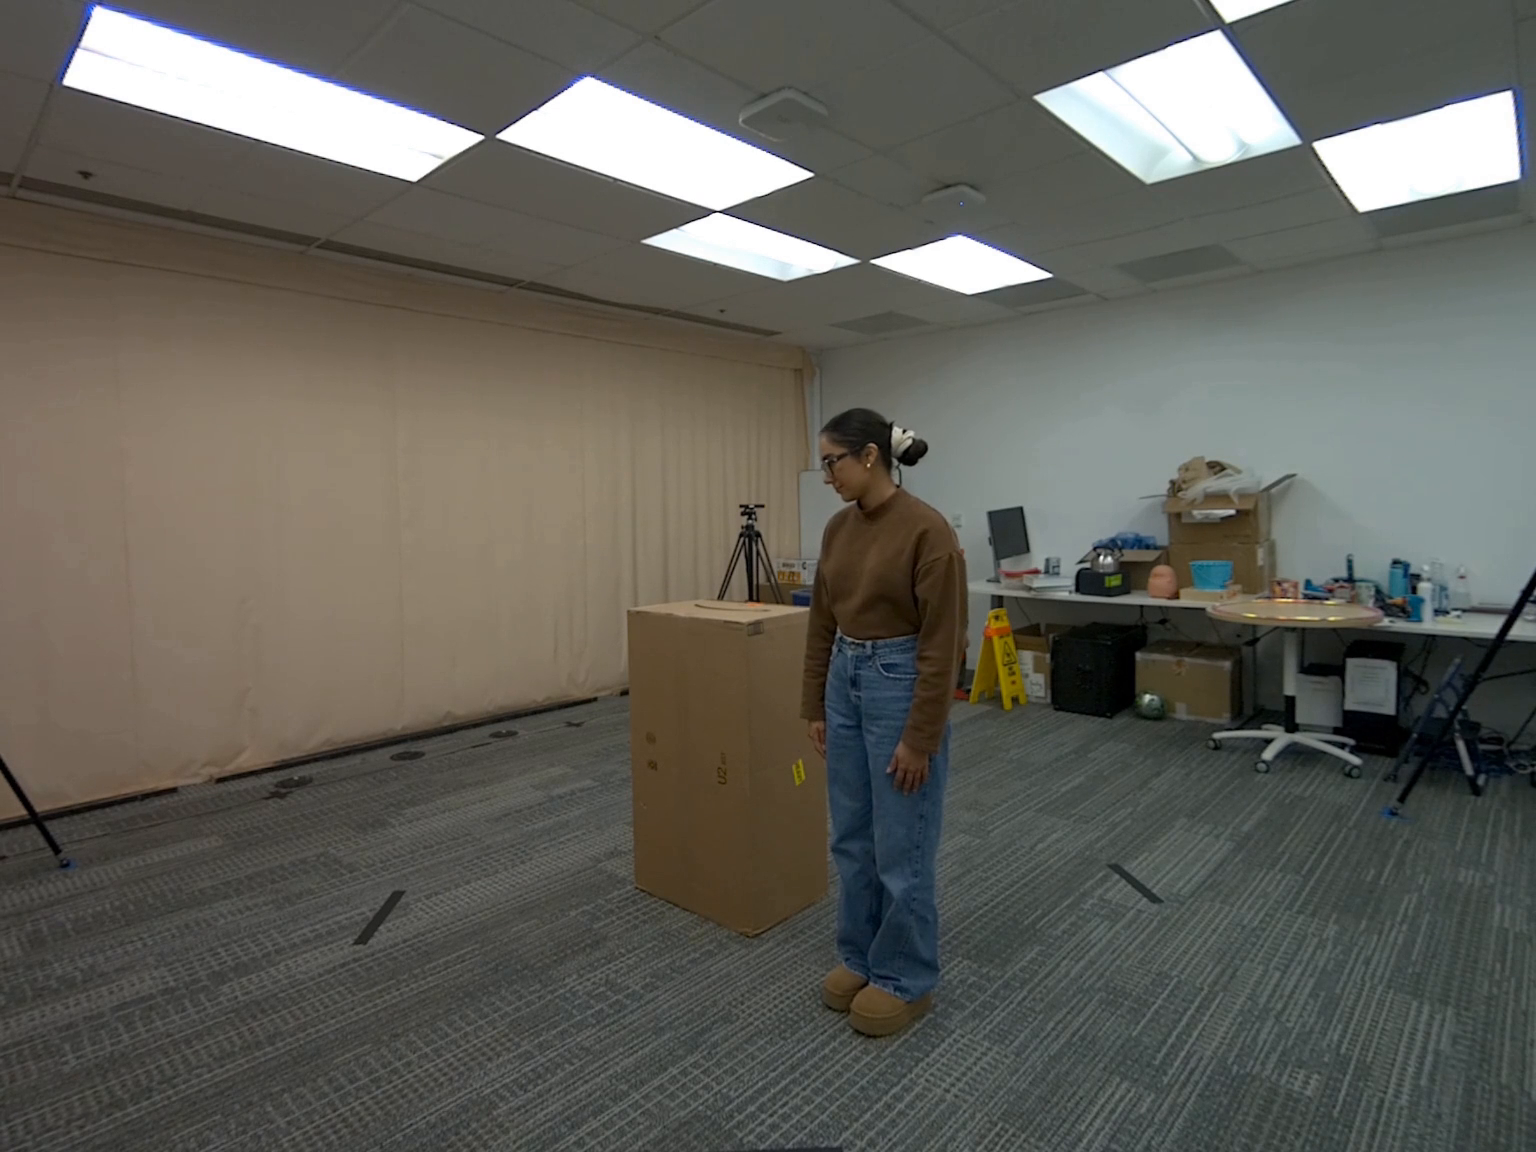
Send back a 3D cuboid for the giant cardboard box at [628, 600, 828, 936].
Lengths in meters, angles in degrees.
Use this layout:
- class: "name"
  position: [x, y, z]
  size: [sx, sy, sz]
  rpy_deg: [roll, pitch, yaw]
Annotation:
- class: "giant cardboard box"
  position: [-0.145, 0.632, 3.027]
  size: [0.603, 1.025, 0.433]
  rpy_deg: [2, 4, 40]
